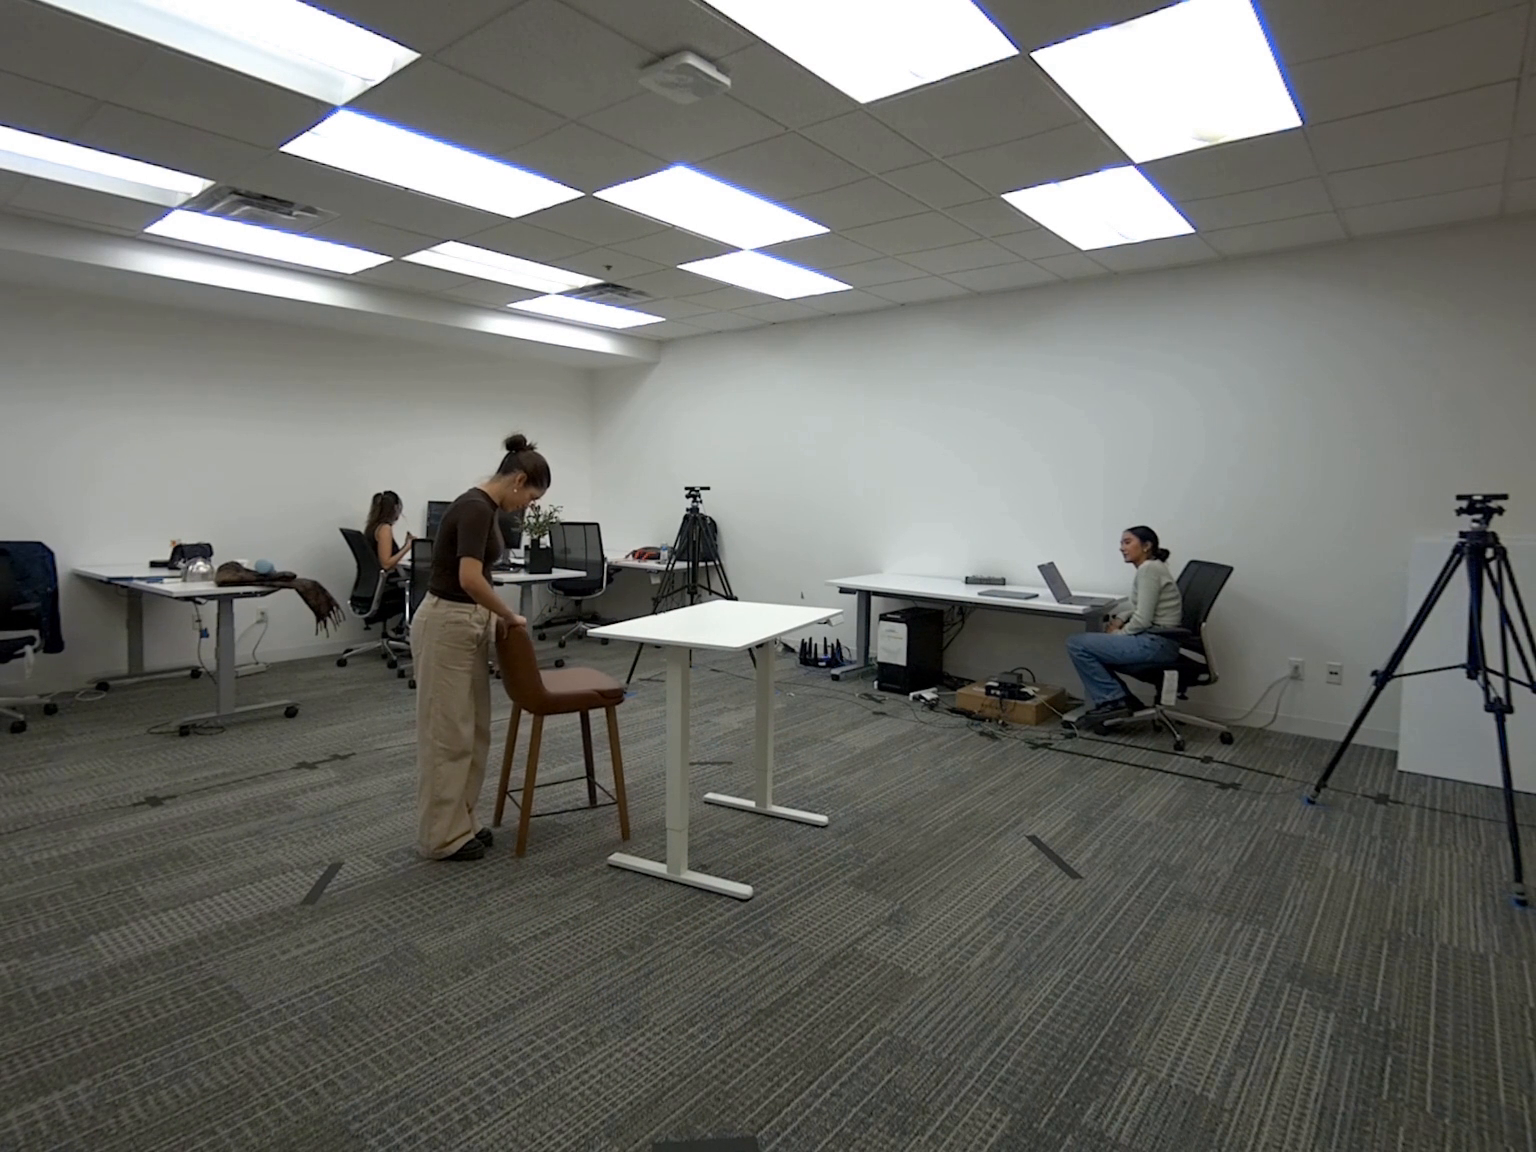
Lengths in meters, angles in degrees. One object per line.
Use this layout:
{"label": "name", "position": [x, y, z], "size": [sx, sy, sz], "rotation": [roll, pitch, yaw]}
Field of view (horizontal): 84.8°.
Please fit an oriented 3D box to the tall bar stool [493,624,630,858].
{"label": "tall bar stool", "position": [-0.856, 0.594, 3.405], "size": [0.455, 0.887, 0.470], "rotation": [-3, 4, -30]}
